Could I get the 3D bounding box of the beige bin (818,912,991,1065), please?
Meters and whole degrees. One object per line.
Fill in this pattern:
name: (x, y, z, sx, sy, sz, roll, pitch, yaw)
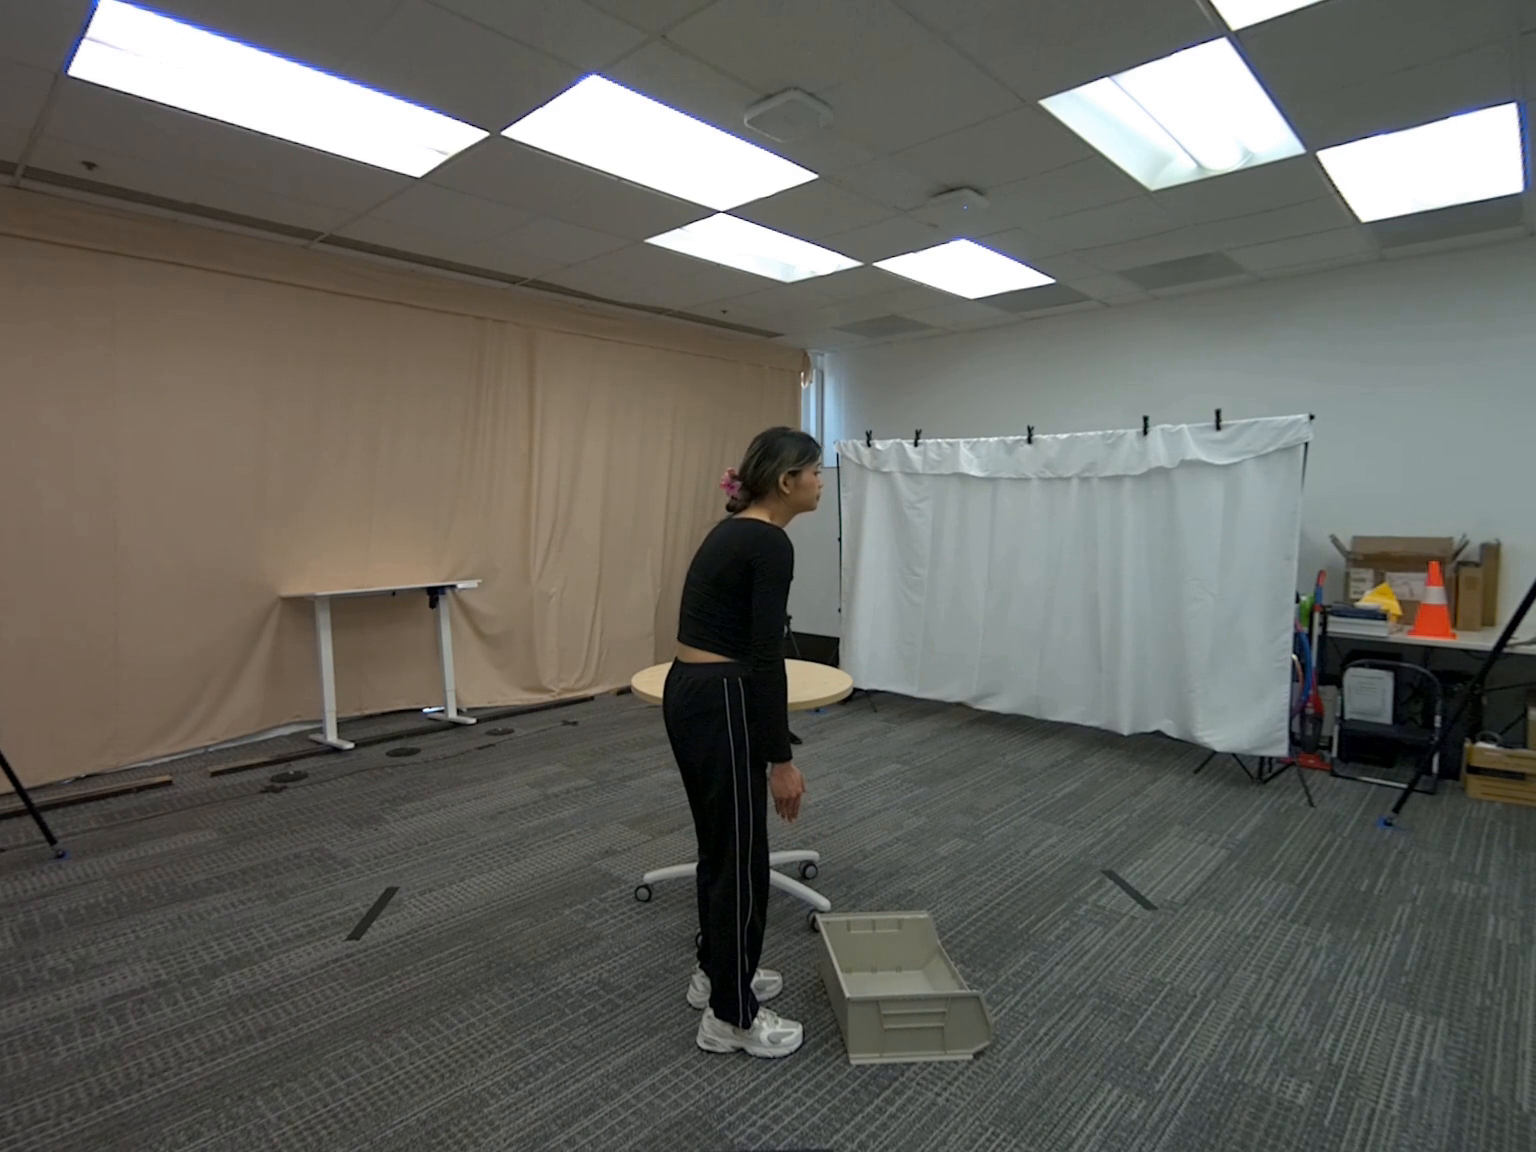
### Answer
beige bin: (0.362, 1.114, 2.301, 0.375, 0.188, 0.426, -2, 5, -6)
